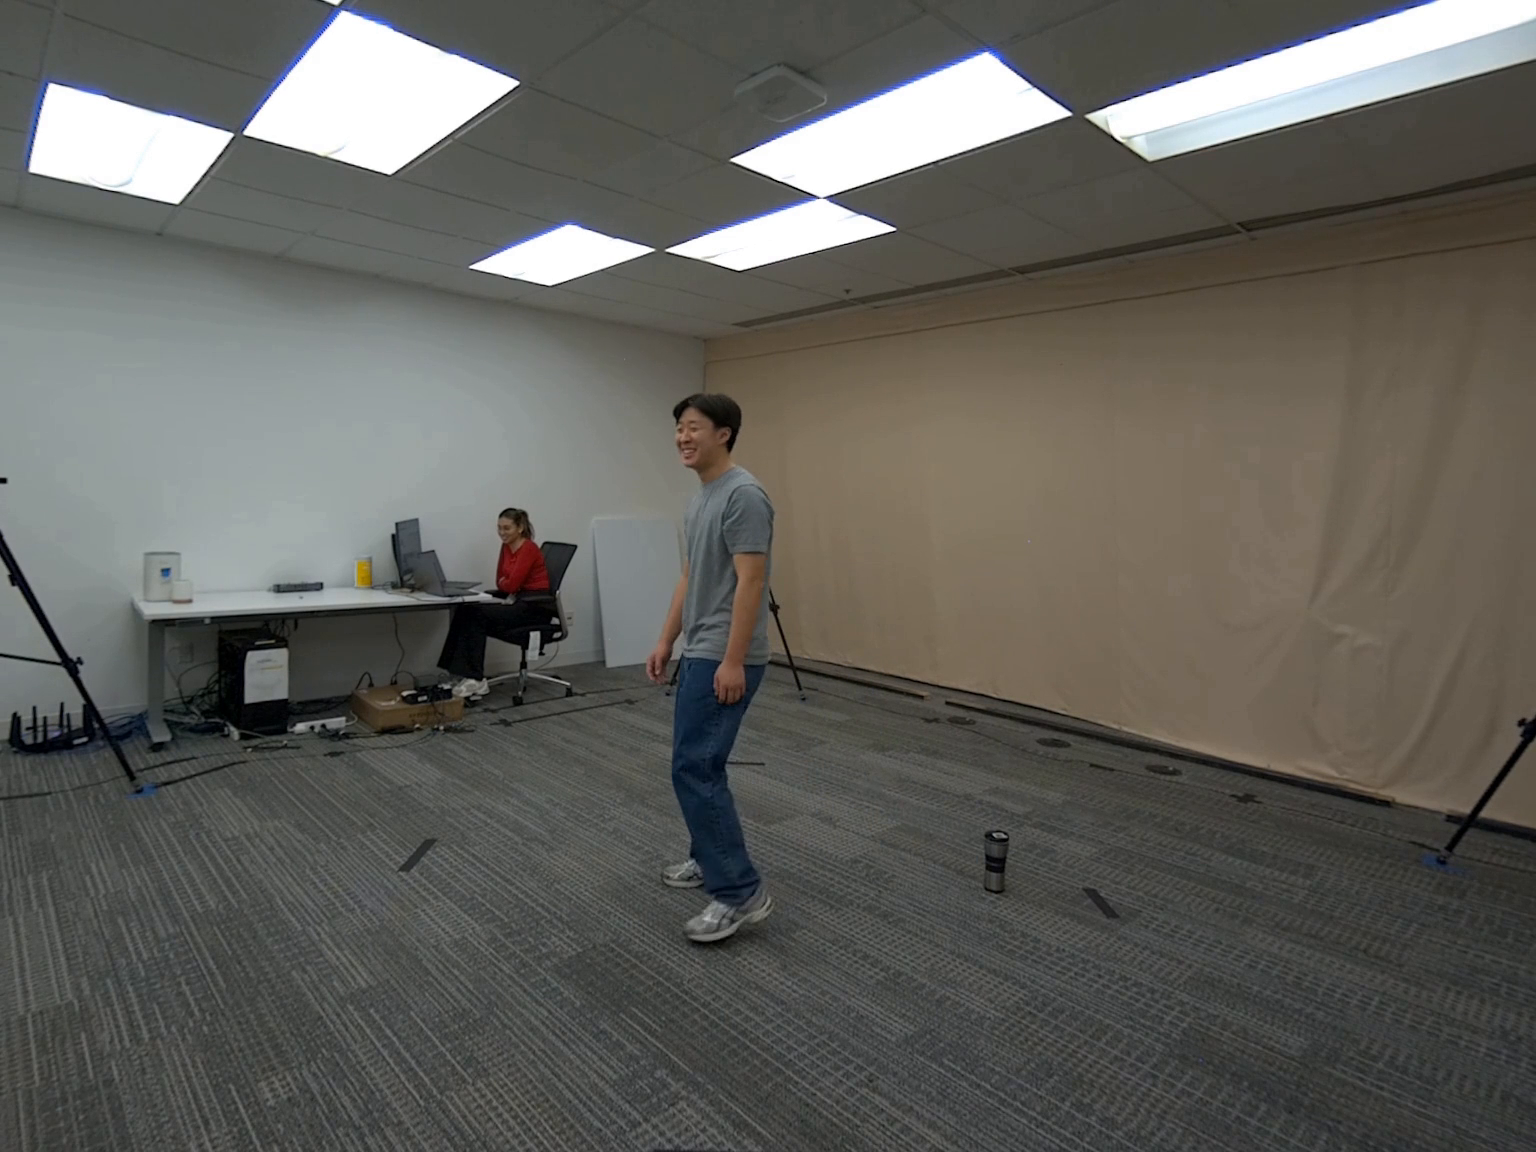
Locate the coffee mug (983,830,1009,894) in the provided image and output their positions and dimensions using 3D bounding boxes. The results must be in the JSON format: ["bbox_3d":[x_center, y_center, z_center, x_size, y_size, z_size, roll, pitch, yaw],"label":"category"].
[{"bbox_3d":[0.838,1.037,3.057,0.119,0.202,0.090,-4,4,-43],"label":"coffee mug"}]
